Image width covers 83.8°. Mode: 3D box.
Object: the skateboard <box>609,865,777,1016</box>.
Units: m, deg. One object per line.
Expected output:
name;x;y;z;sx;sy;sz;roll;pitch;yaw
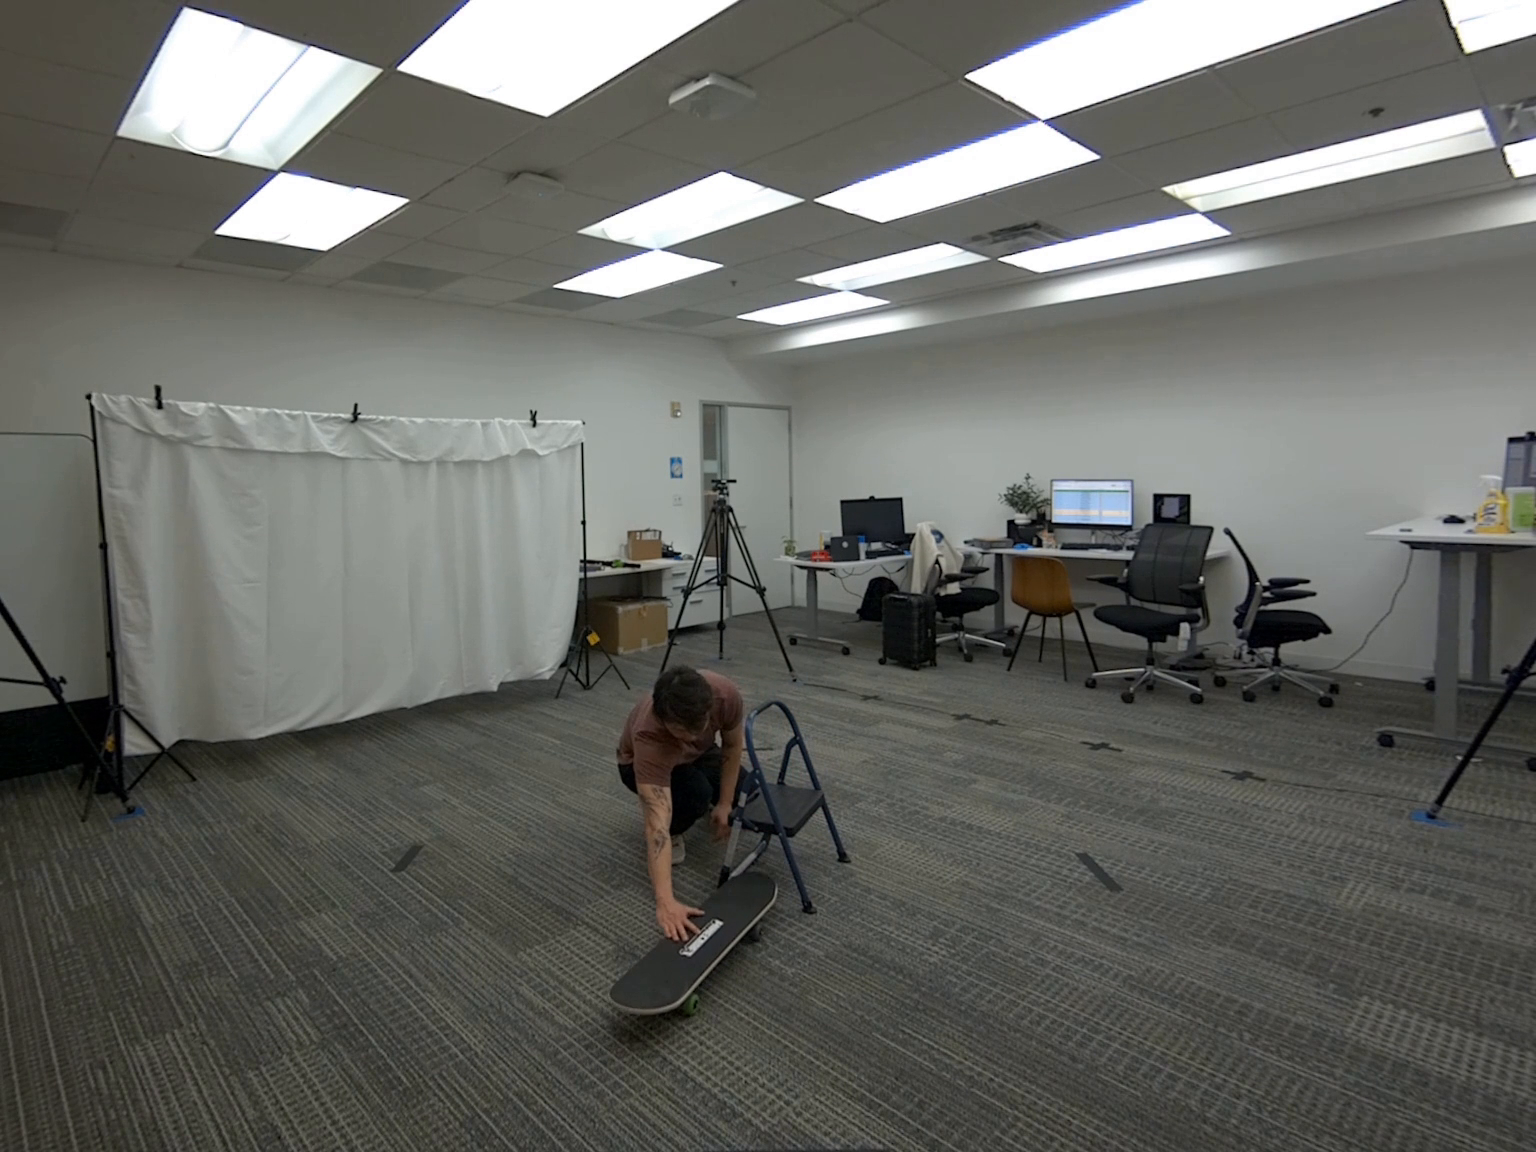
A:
skateboard;-0.183;1.073;2.462;0.198;0.110;0.771;1;7;25
